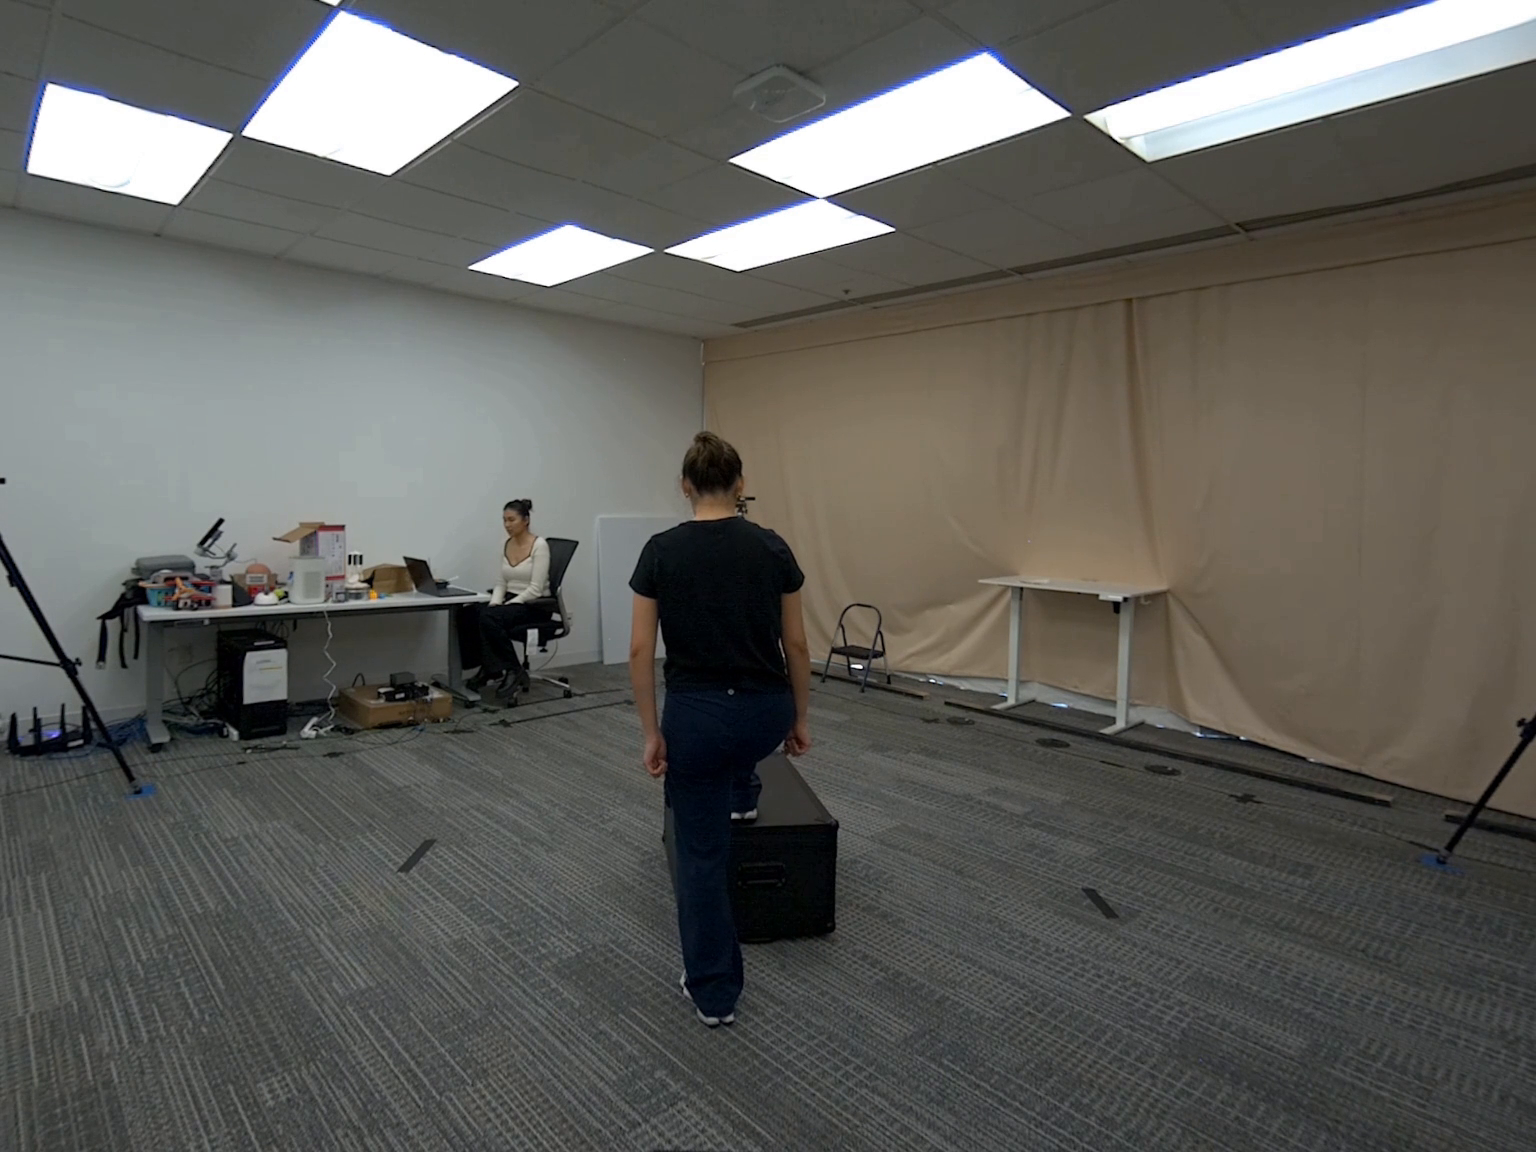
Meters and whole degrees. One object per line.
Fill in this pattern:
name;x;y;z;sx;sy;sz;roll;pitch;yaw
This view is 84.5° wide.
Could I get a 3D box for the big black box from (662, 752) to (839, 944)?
big black box;-0.107;0.920;3.018;0.516;0.395;0.872;1;5;-12
